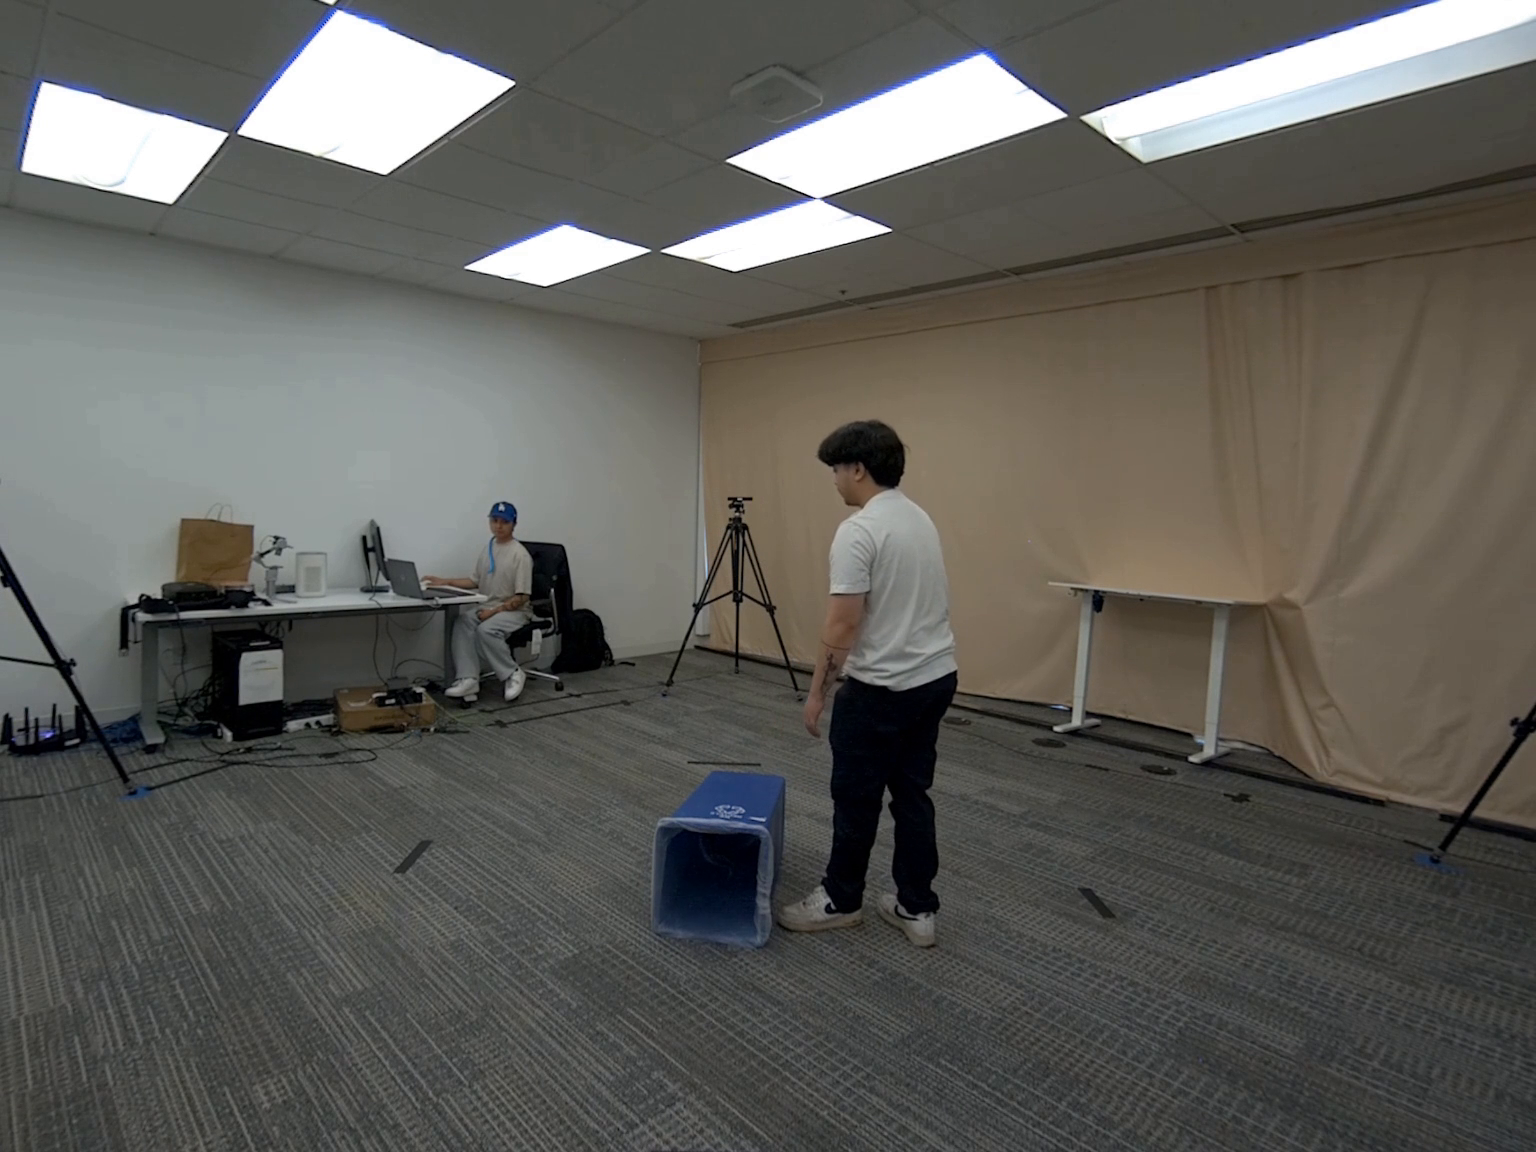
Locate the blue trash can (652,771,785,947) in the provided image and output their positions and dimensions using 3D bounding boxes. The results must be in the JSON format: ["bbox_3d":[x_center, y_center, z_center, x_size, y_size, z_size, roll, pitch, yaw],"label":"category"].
[{"bbox_3d":[-0.144,0.953,2.984,0.376,0.378,0.709,1,2,7],"label":"blue trash can"}]
